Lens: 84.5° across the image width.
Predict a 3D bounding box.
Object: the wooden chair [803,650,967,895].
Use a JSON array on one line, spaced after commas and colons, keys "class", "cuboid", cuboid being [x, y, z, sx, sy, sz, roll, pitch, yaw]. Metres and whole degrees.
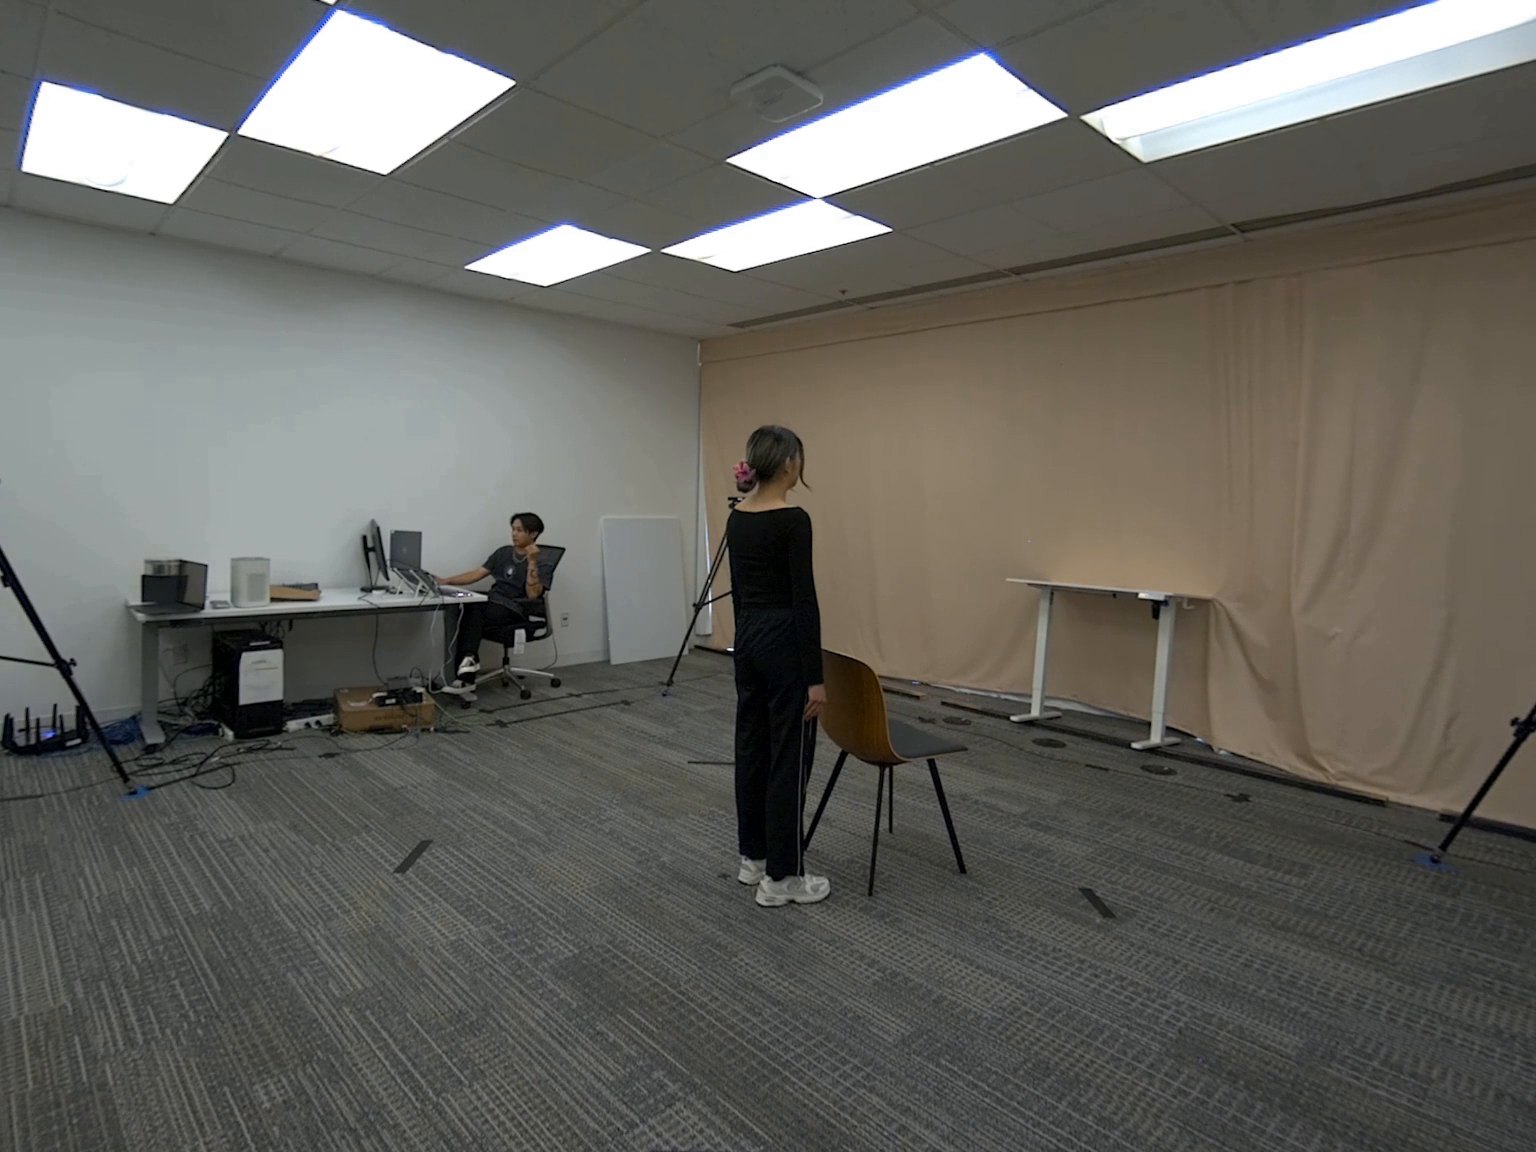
[{"class": "wooden chair", "cuboid": [0.457, 0.684, 3.248, 0.514, 0.874, 0.488, -5, 6, -28]}]
